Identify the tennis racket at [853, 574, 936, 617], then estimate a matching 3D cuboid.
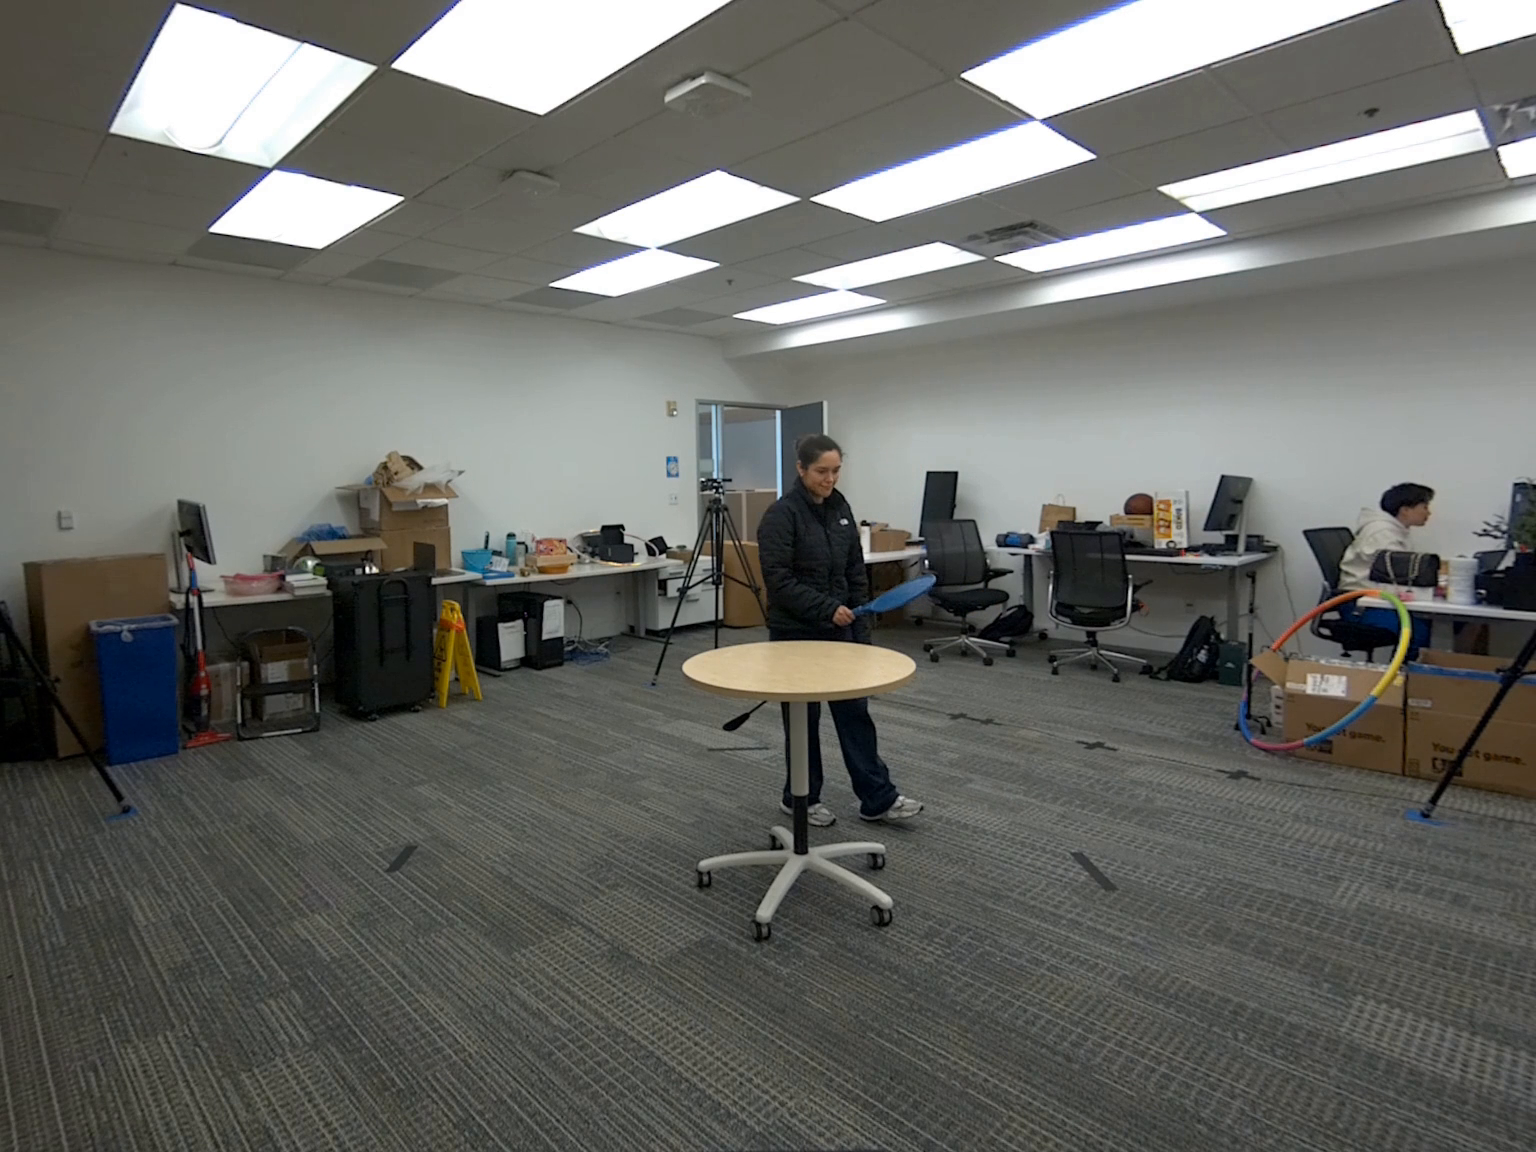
[{"bbox_3d":[0.433,0.094,3.183,0.439,0.031,0.213,-23,12,37],"label":"tennis racket"}]
